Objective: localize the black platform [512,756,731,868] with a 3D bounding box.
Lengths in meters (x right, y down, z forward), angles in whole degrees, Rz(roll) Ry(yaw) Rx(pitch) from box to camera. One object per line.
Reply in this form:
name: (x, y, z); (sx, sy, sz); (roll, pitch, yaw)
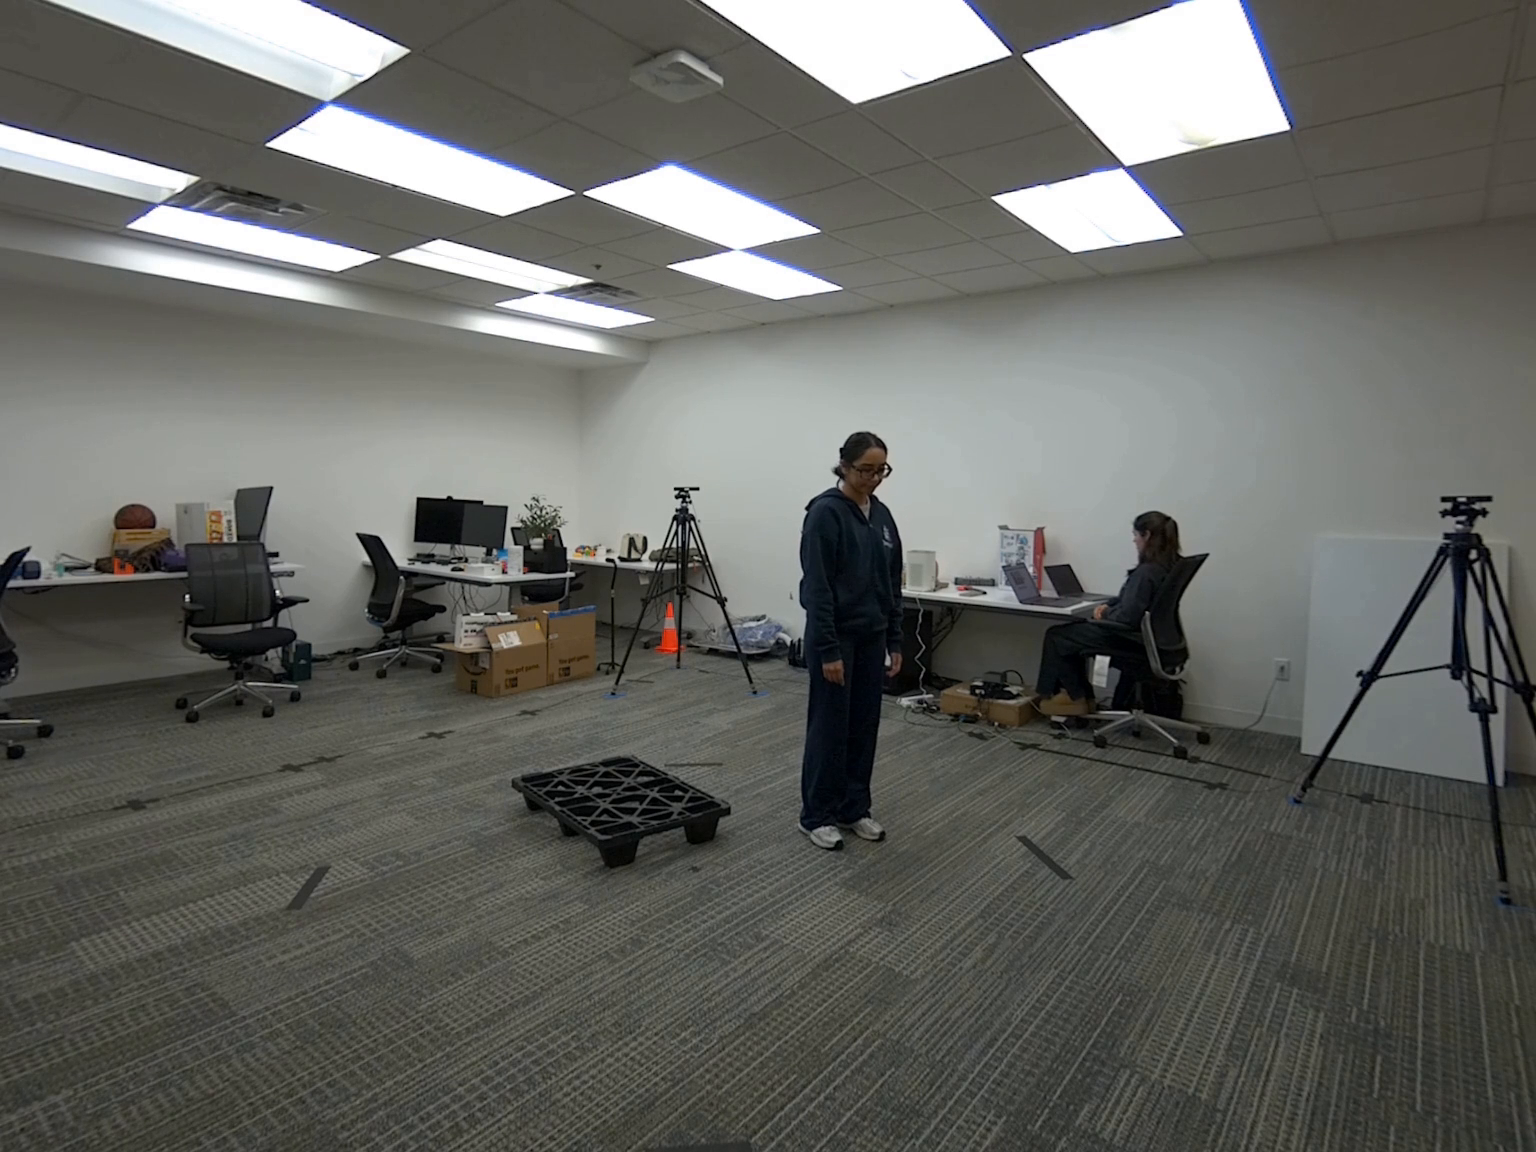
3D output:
black platform: (-0.638, 0.953, 3.516); (0.587, 0.143, 0.833); (-4, 7, -38)
